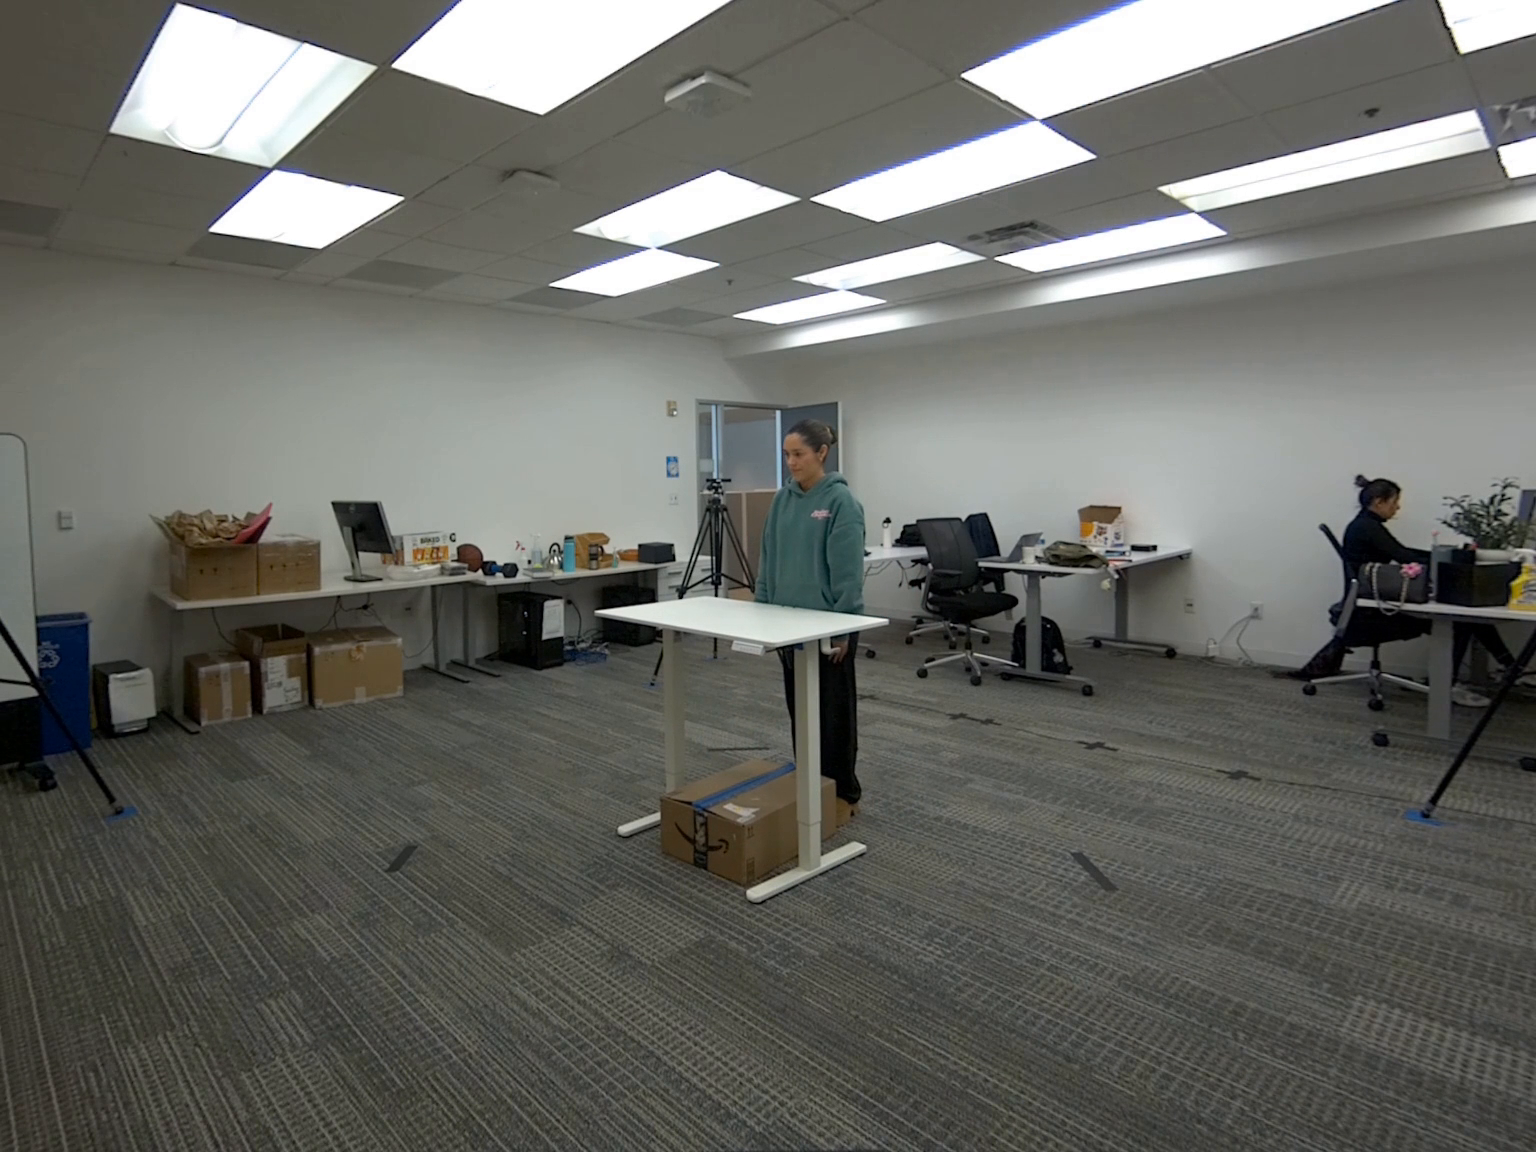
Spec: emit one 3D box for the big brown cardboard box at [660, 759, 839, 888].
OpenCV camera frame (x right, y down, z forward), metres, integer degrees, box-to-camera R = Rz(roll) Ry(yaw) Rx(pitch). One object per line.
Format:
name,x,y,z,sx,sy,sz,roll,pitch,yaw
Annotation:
big brown cardboard box,-0.073,0.910,3.265,0.430,0.232,0.574,4,7,39
